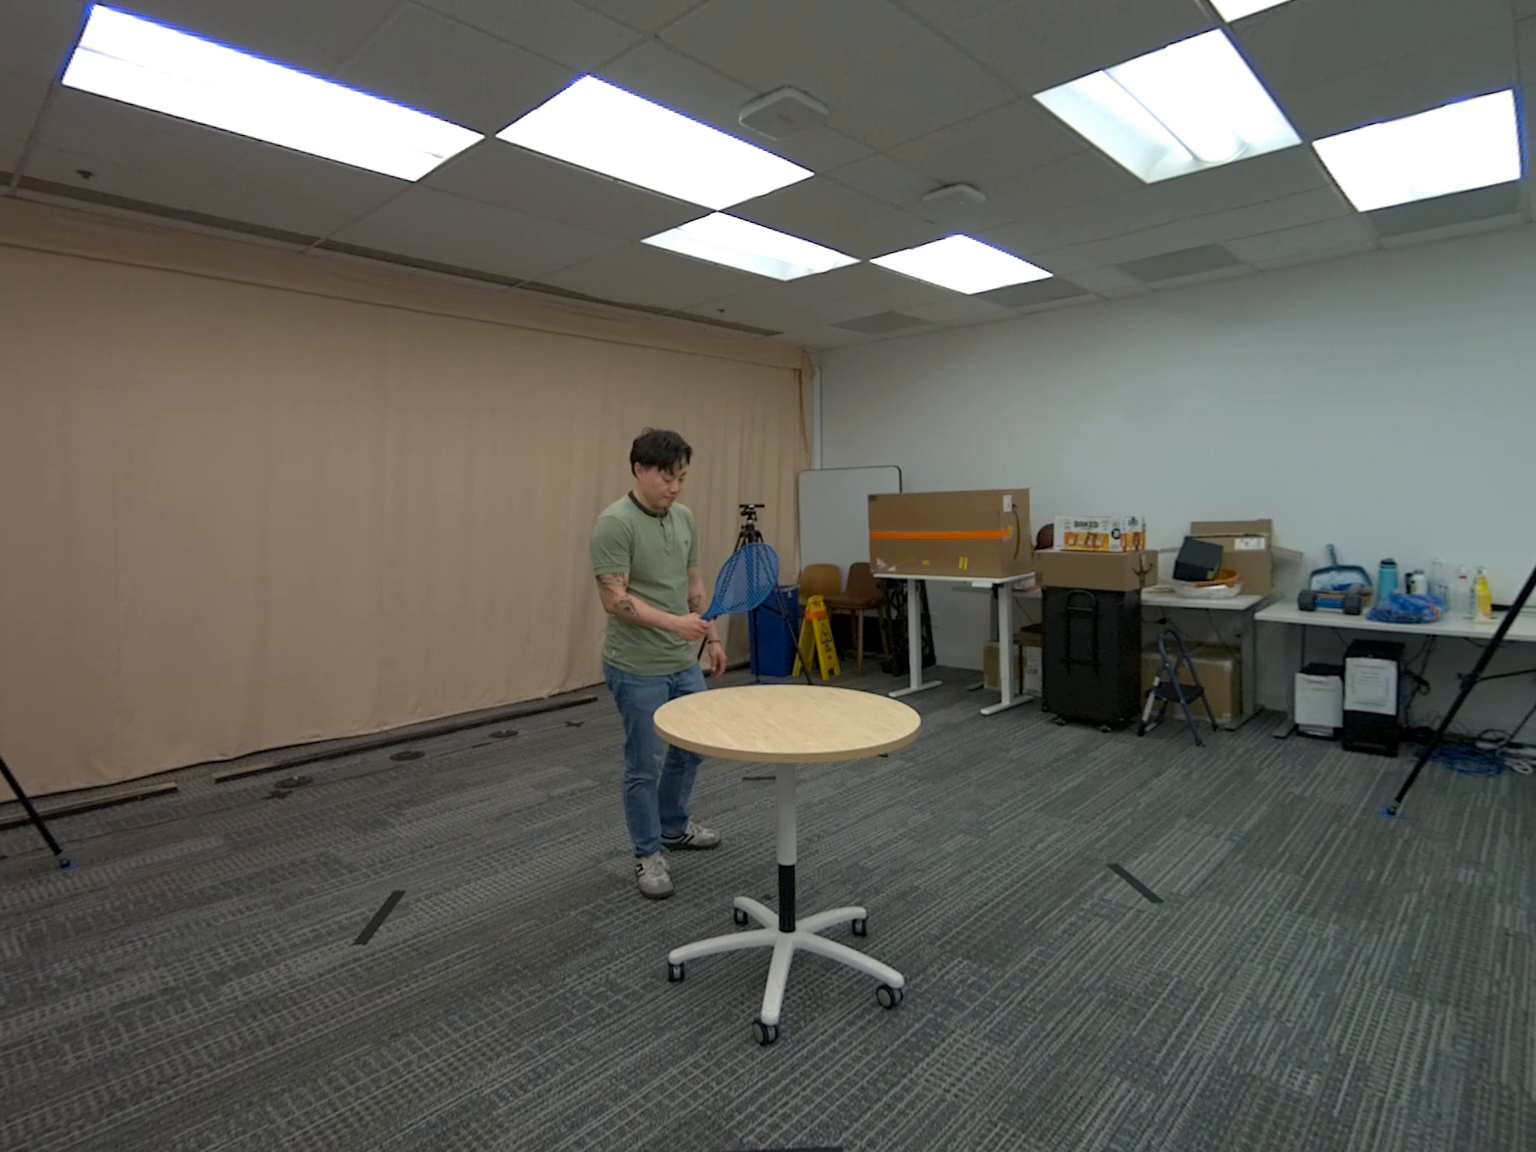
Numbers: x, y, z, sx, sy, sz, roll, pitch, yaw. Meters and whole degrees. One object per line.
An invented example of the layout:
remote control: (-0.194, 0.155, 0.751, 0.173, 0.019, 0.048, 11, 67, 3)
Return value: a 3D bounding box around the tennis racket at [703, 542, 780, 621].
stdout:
tennis racket: (-0.108, 0.059, 2.835, 0.435, 0.220, 0.030, -45, -32, 21)
